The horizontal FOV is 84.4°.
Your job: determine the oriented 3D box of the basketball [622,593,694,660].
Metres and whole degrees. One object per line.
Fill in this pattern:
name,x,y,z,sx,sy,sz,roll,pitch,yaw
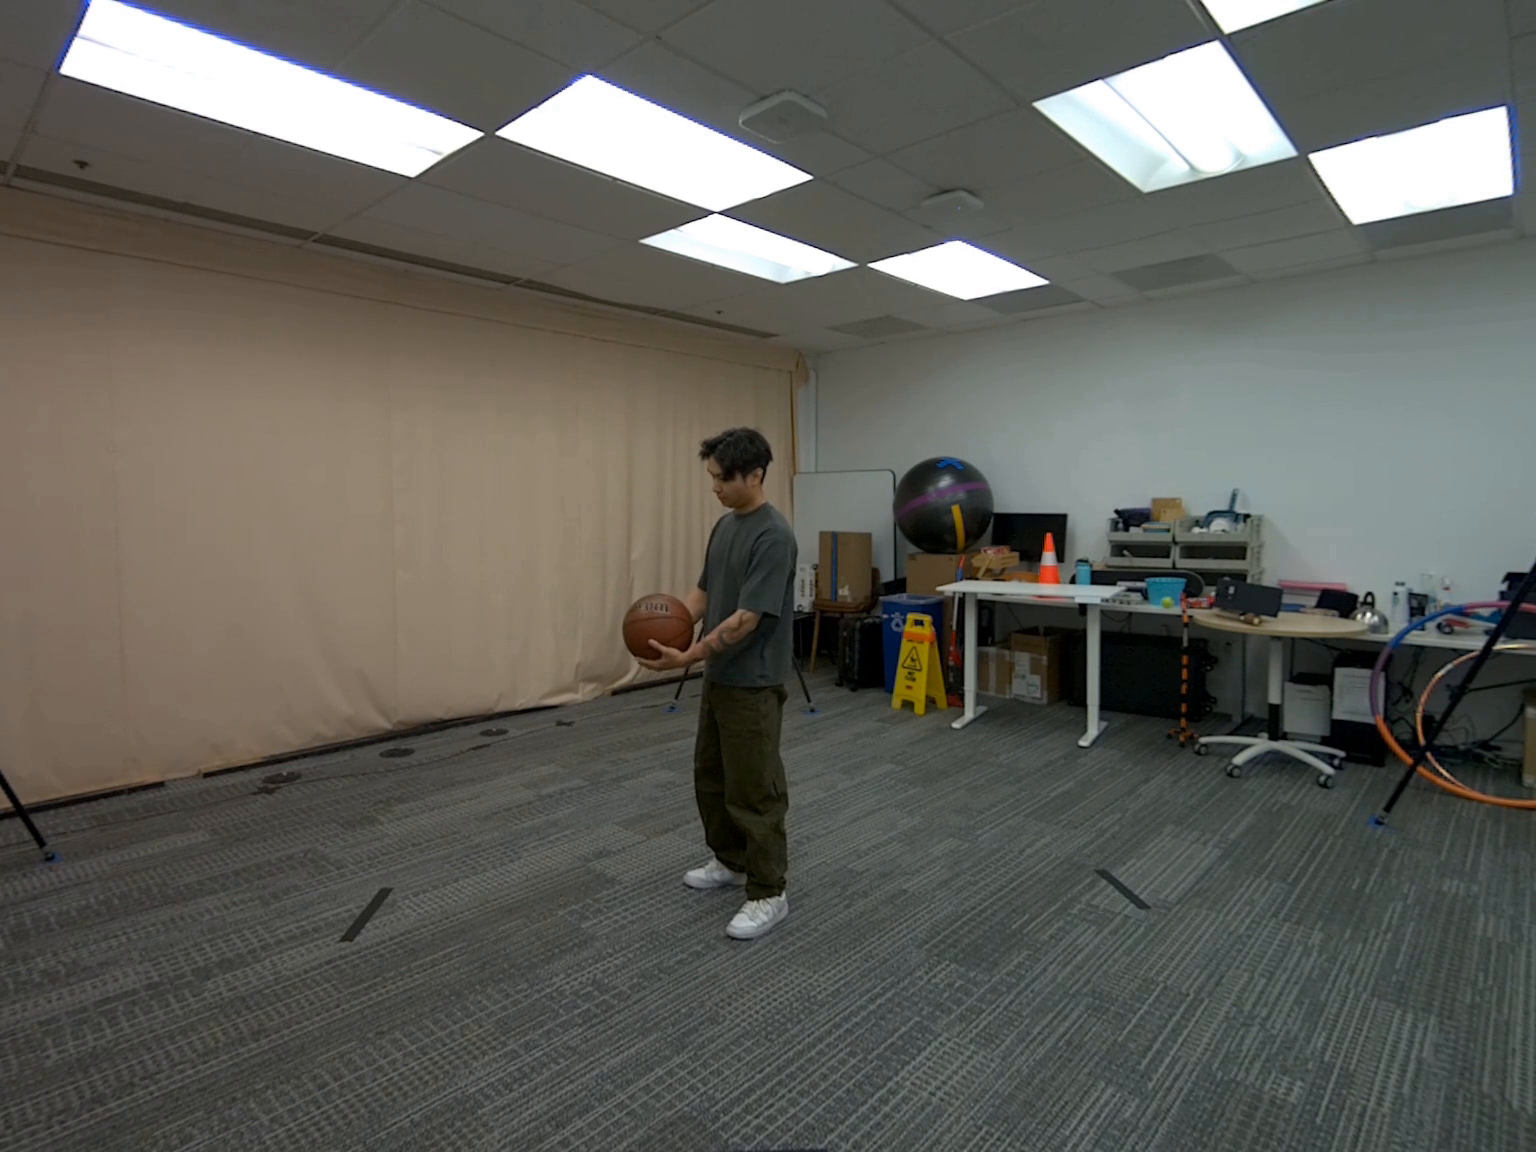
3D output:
basketball,-0.356,0.178,2.801,0.236,0.235,0.237,0,4,-2
